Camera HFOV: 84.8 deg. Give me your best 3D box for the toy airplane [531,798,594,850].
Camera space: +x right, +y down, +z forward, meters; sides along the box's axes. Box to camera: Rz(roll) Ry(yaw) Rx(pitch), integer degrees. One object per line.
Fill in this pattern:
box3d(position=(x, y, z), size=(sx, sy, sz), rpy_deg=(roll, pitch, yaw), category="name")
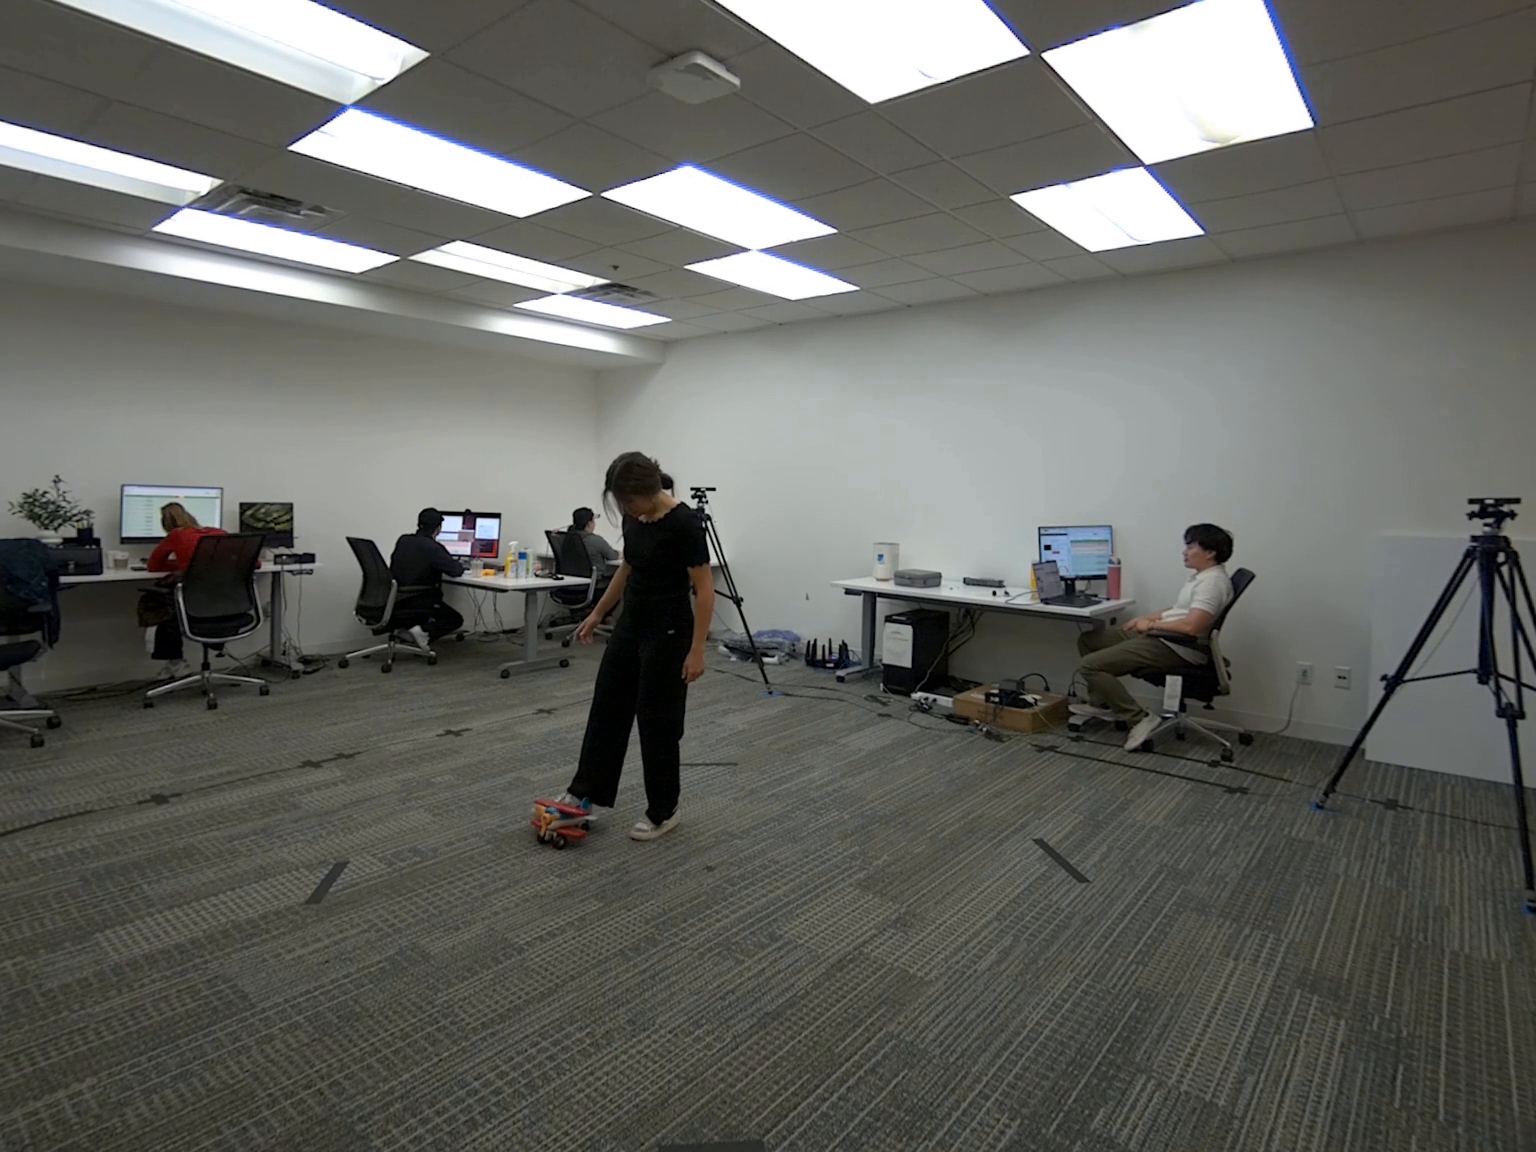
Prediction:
box3d(position=(-0.828, 0.960, 3.351), size=(0.252, 0.156, 0.260), rpy_deg=(1, 6, 1), category="toy airplane")
